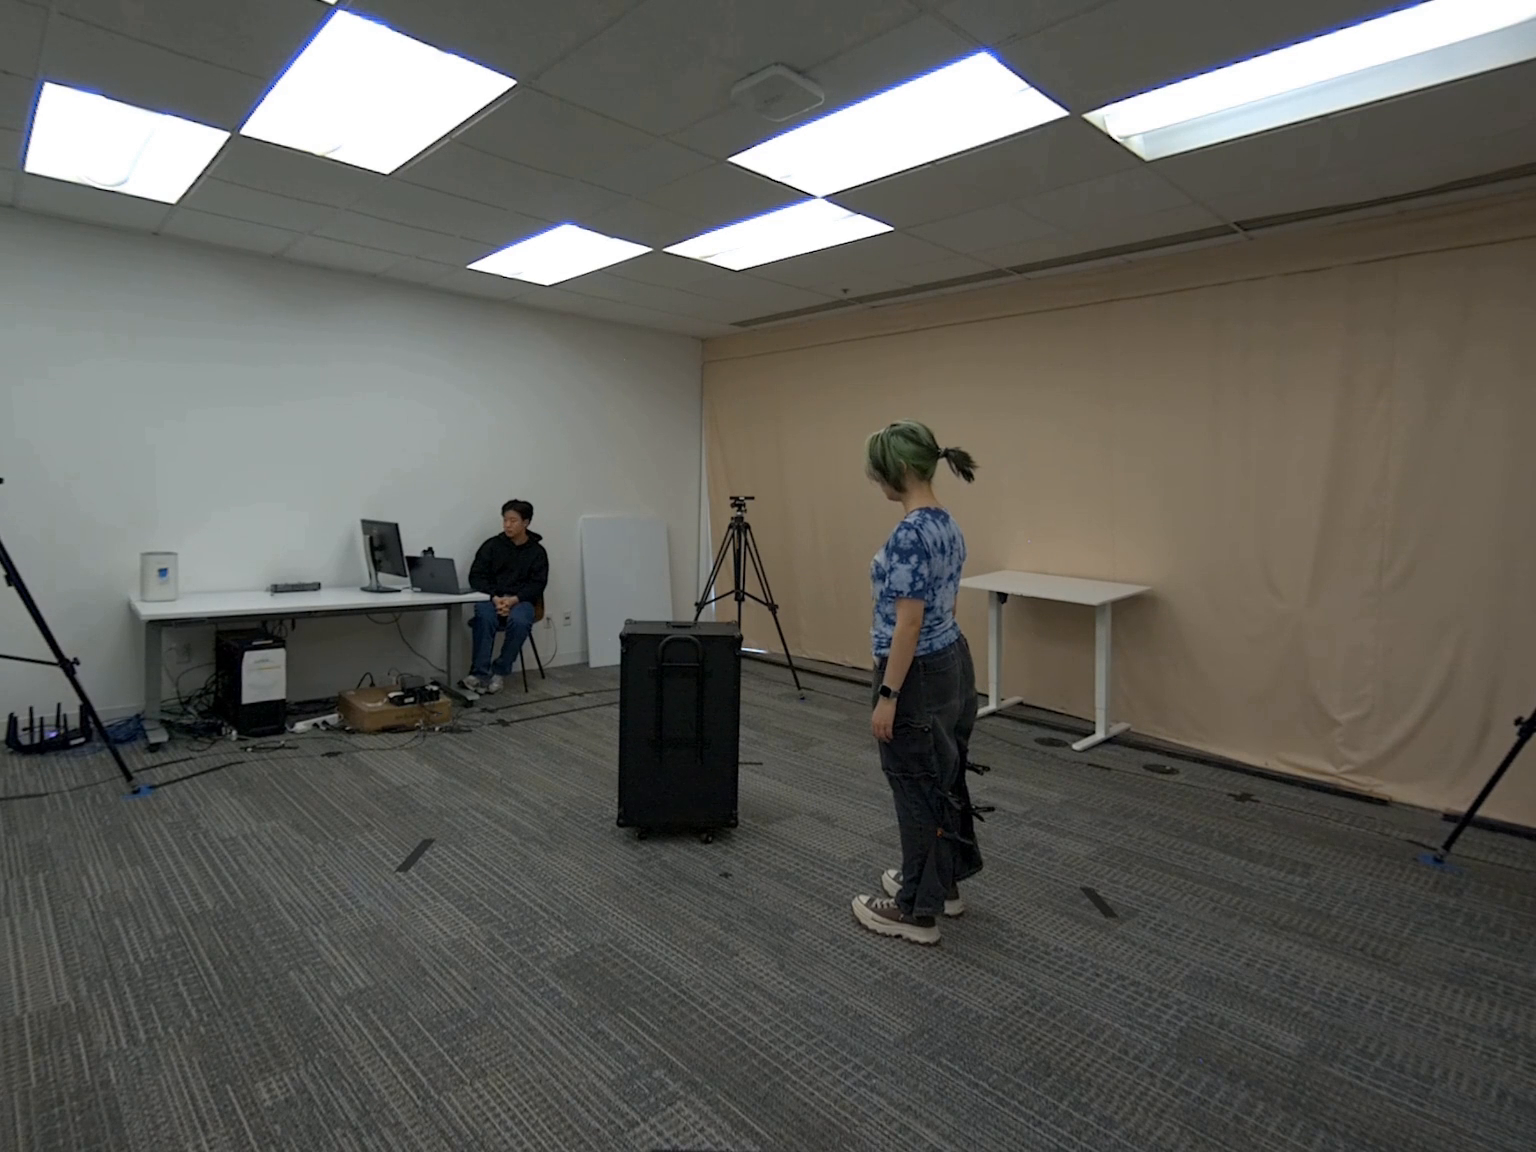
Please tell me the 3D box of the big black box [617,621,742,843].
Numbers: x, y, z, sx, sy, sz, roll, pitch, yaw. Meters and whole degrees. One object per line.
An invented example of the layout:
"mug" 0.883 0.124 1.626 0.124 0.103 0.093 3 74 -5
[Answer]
"big black box" -0.371 0.637 3.510 0.520 0.859 0.398 2 4 -4
